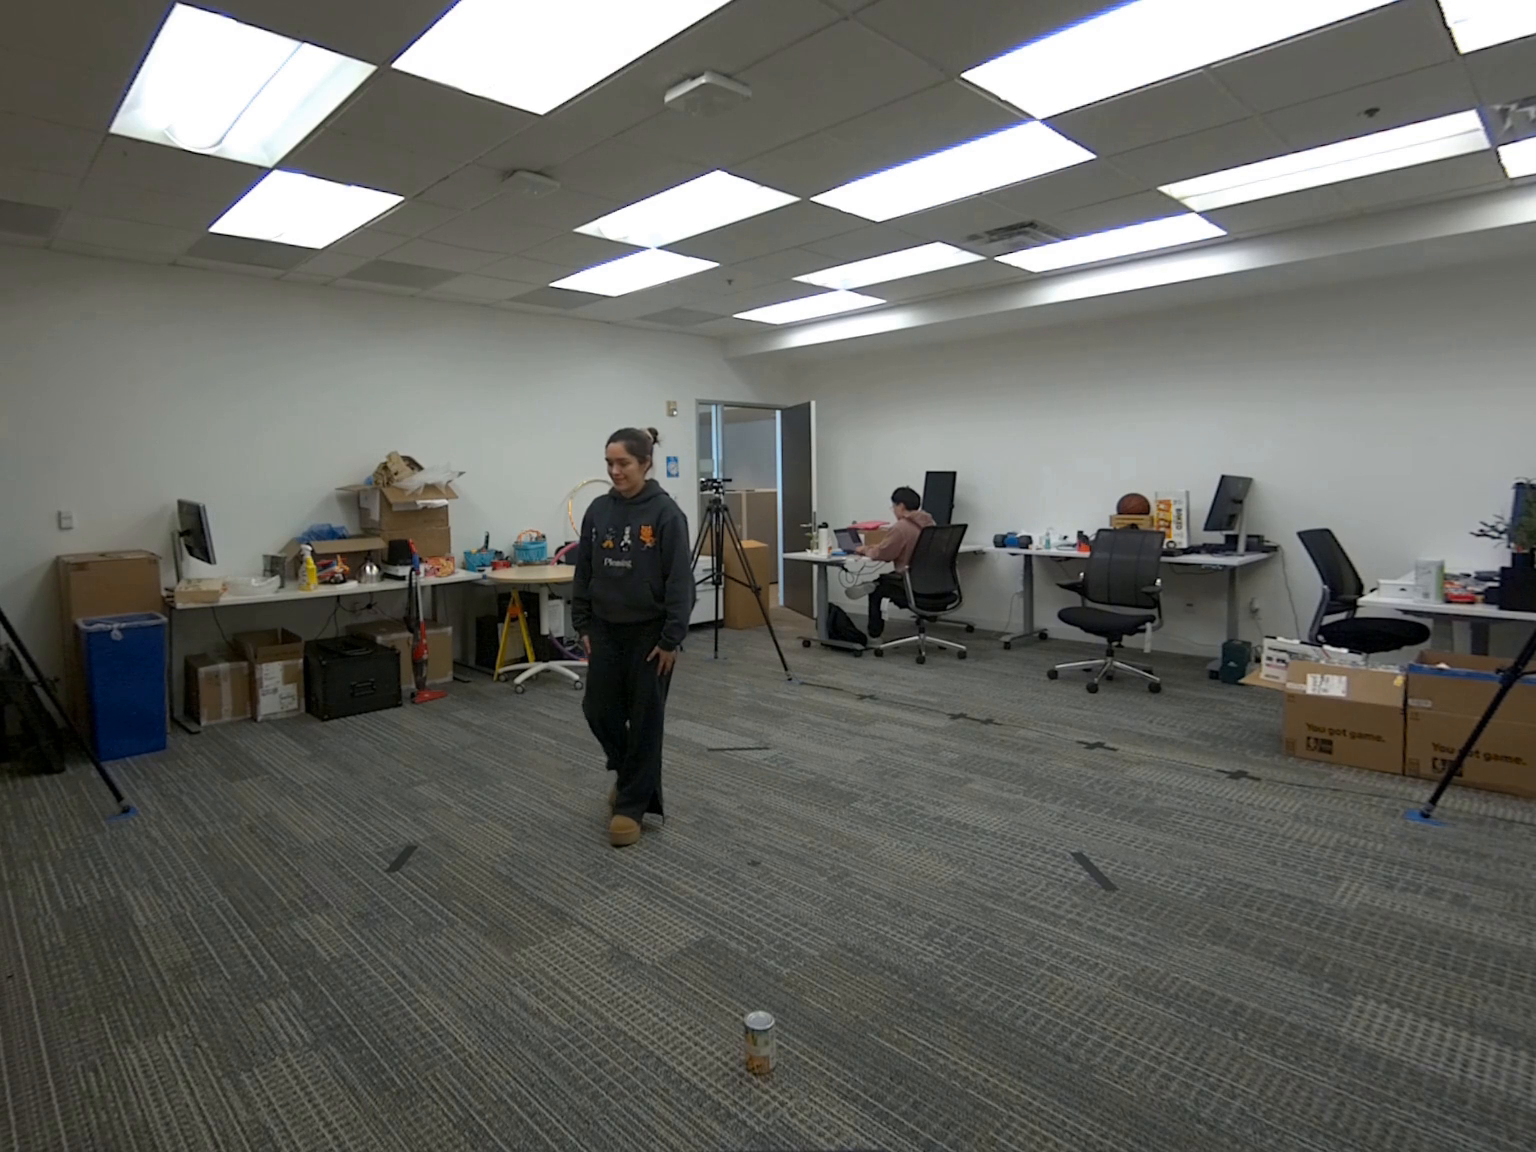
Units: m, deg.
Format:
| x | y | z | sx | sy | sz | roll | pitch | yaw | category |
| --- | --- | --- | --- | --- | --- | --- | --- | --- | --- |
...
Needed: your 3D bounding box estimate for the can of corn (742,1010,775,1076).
| x | y | z | sx | sy | sz | roll | pitch | yaw | category |
| --- | --- | --- | --- | --- | --- | --- | --- | --- | --- |
| -0.013 | 1.119 | 2.025 | 0.074 | 0.111 | 0.074 | 0 | 2 | -2 | can of corn |
